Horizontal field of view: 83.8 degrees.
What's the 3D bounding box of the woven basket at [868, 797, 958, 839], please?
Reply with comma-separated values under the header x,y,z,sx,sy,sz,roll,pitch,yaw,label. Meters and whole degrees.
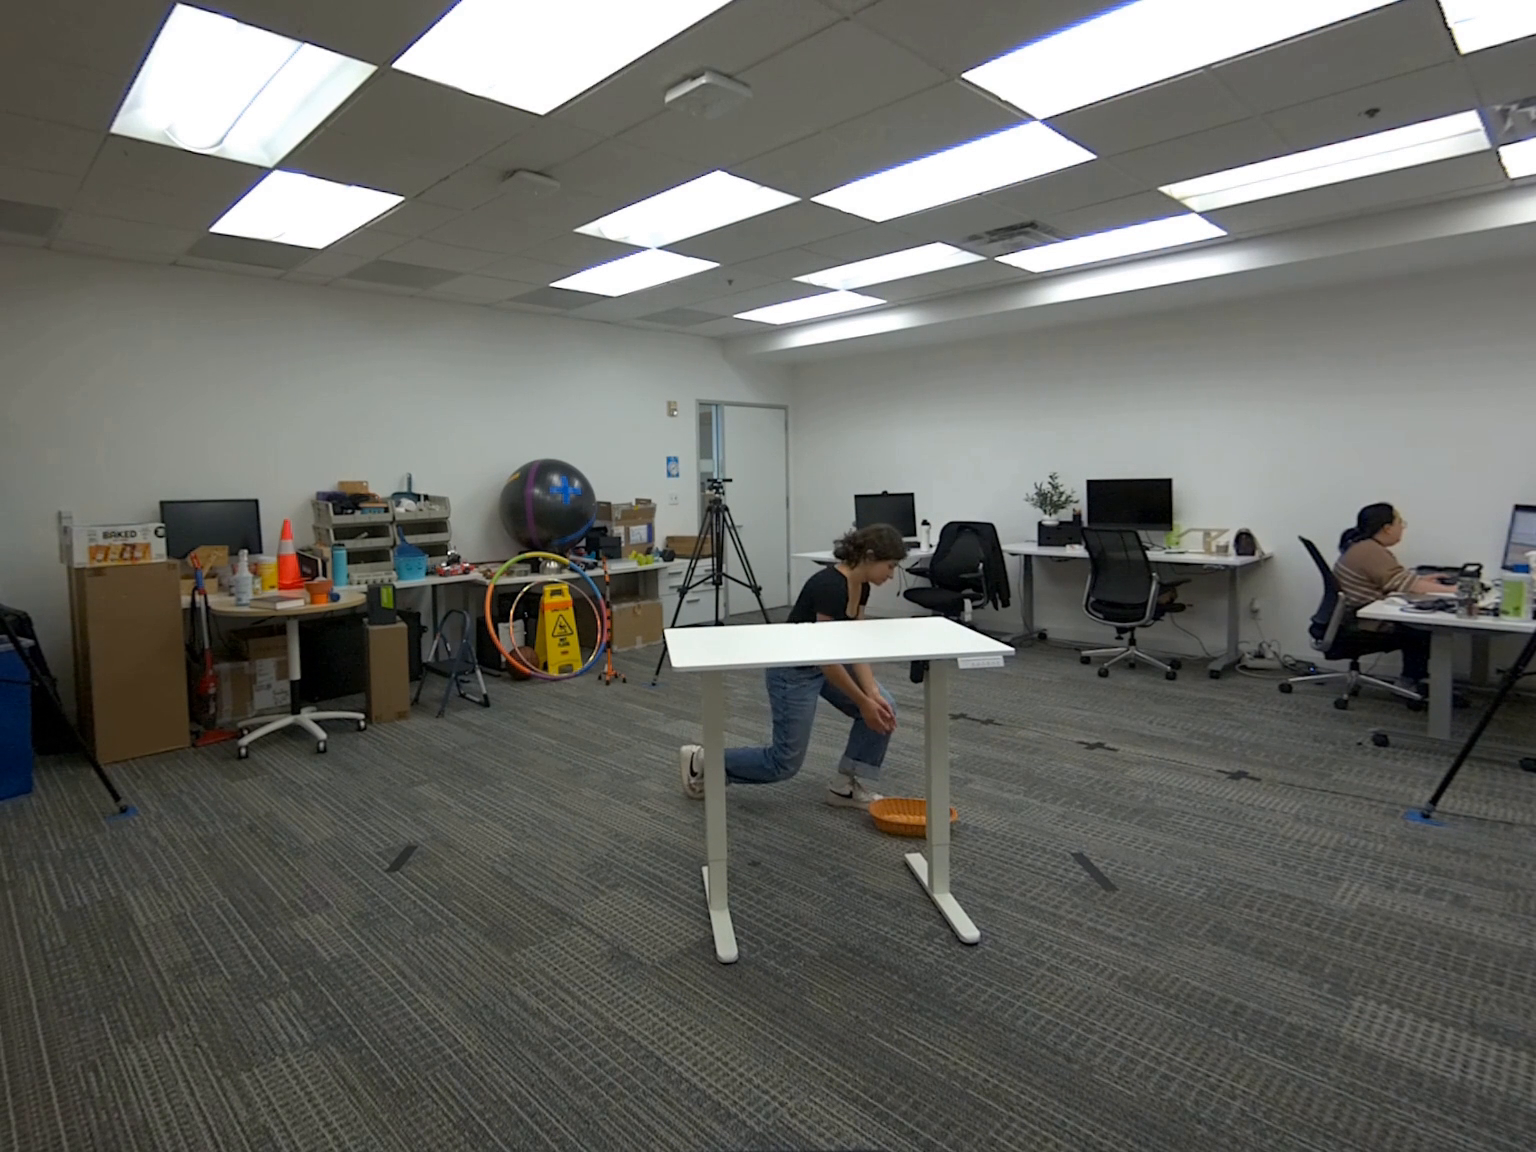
x,y,z,sx,sy,sz,roll,pitch,yaw,label
0.572,0.962,3.404,0.356,0.073,0.249,1,7,17,woven basket
